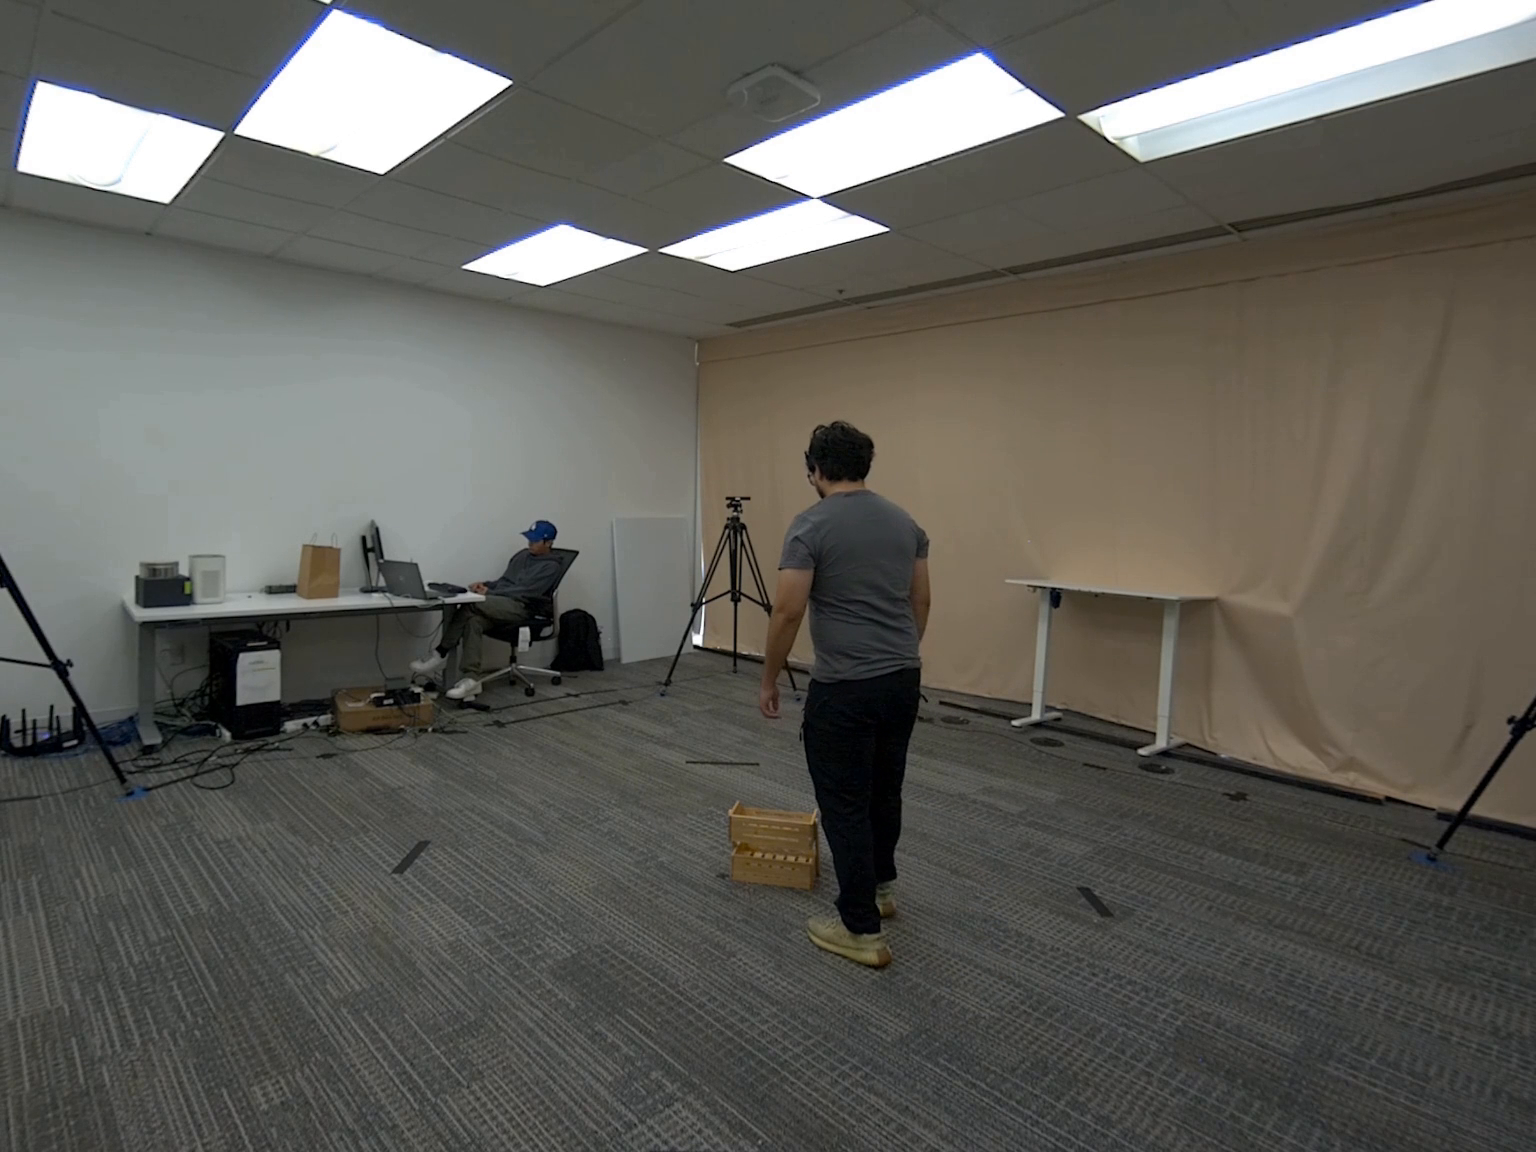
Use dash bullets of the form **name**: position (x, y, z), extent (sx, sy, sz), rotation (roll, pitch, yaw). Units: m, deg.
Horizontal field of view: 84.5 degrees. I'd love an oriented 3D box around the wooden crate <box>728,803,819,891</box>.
- **wooden crate**: position (0.026, 0.975, 3.131), extent (0.327, 0.272, 0.300), rotation (2, 5, 11)
